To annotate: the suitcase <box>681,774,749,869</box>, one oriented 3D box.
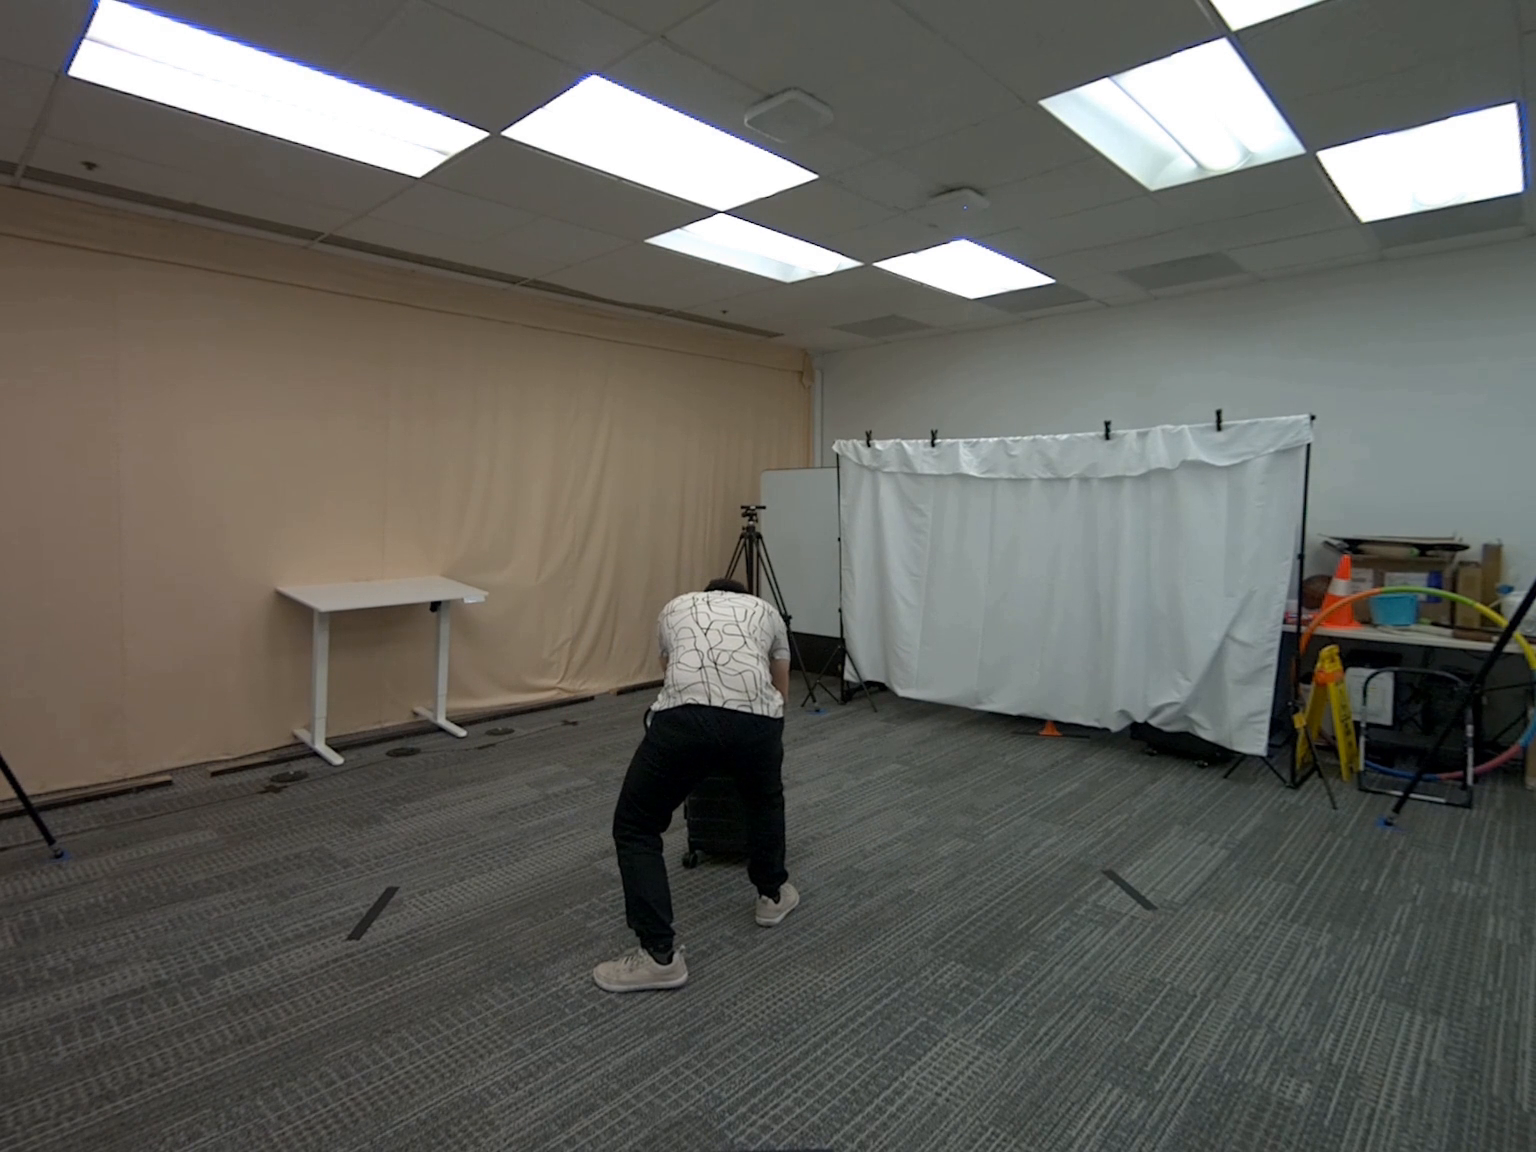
[{"bbox_3d":[-0.141,0.842,3.350,0.379,0.550,0.246,1,-1,8],"label":"suitcase"}]
